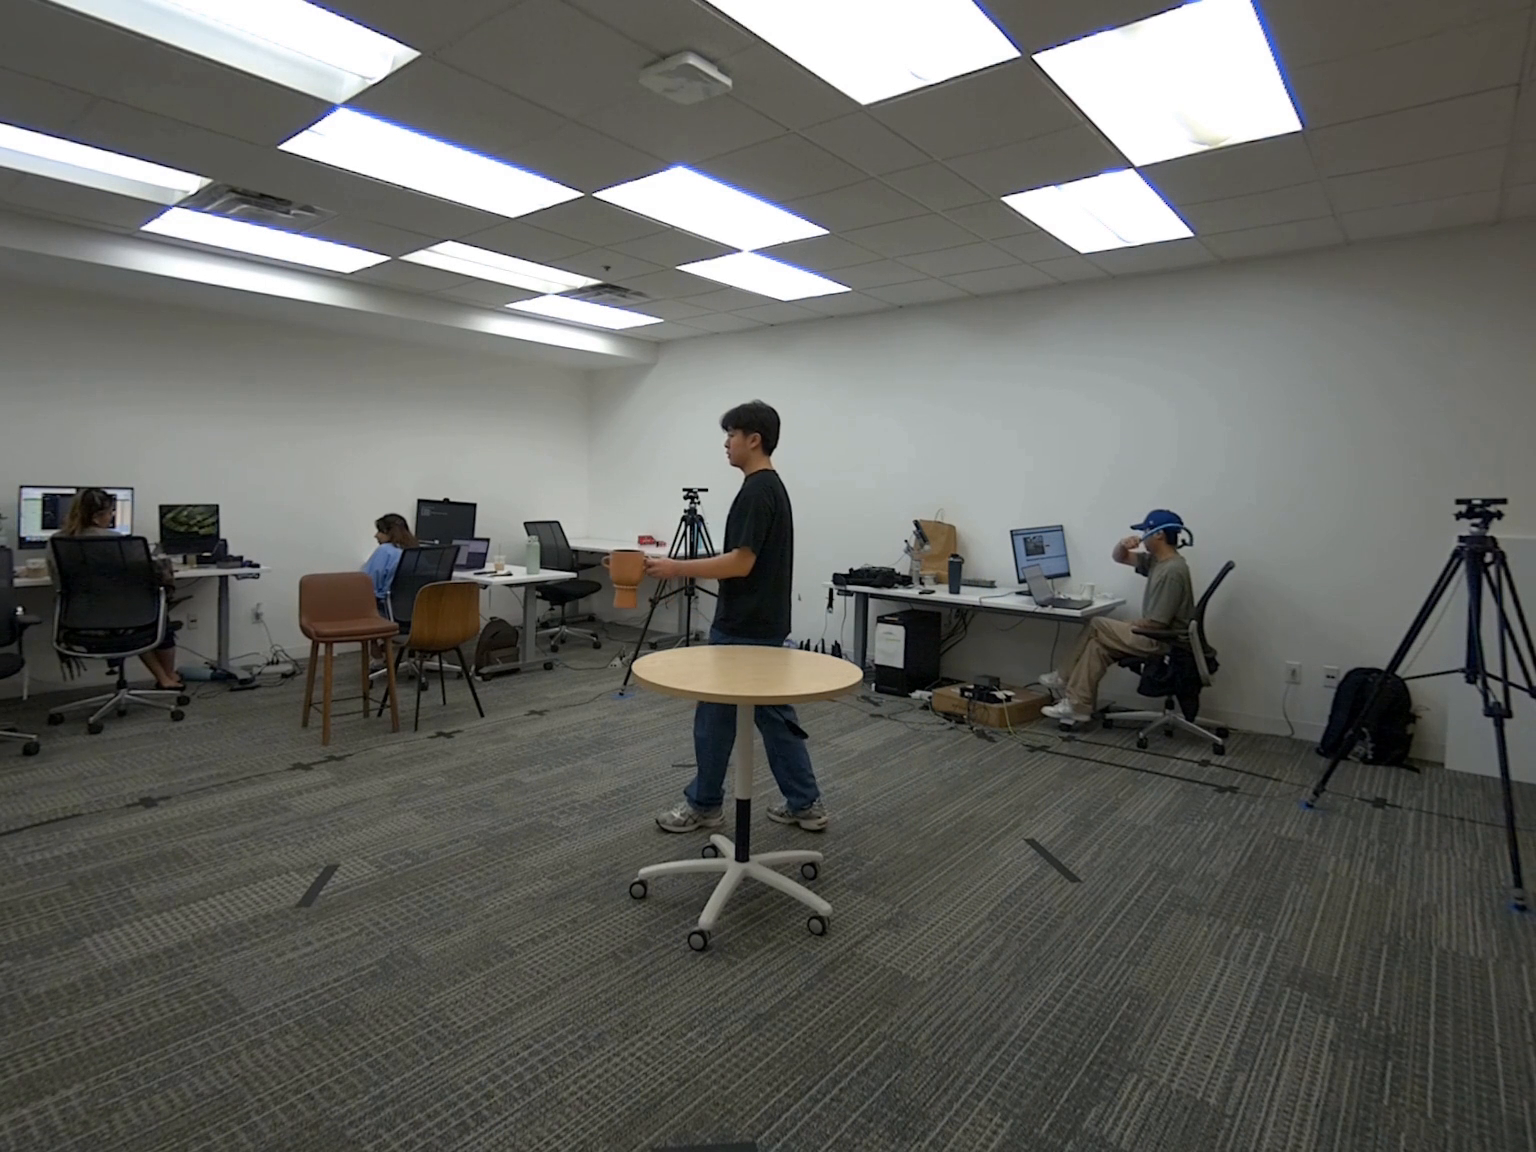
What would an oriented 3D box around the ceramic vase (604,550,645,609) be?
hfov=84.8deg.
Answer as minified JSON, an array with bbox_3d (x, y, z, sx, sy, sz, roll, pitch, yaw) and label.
[{"bbox_3d":[-0.563,0.005,3.313,0.164,0.219,0.130,7,7,41],"label":"ceramic vase"}]
